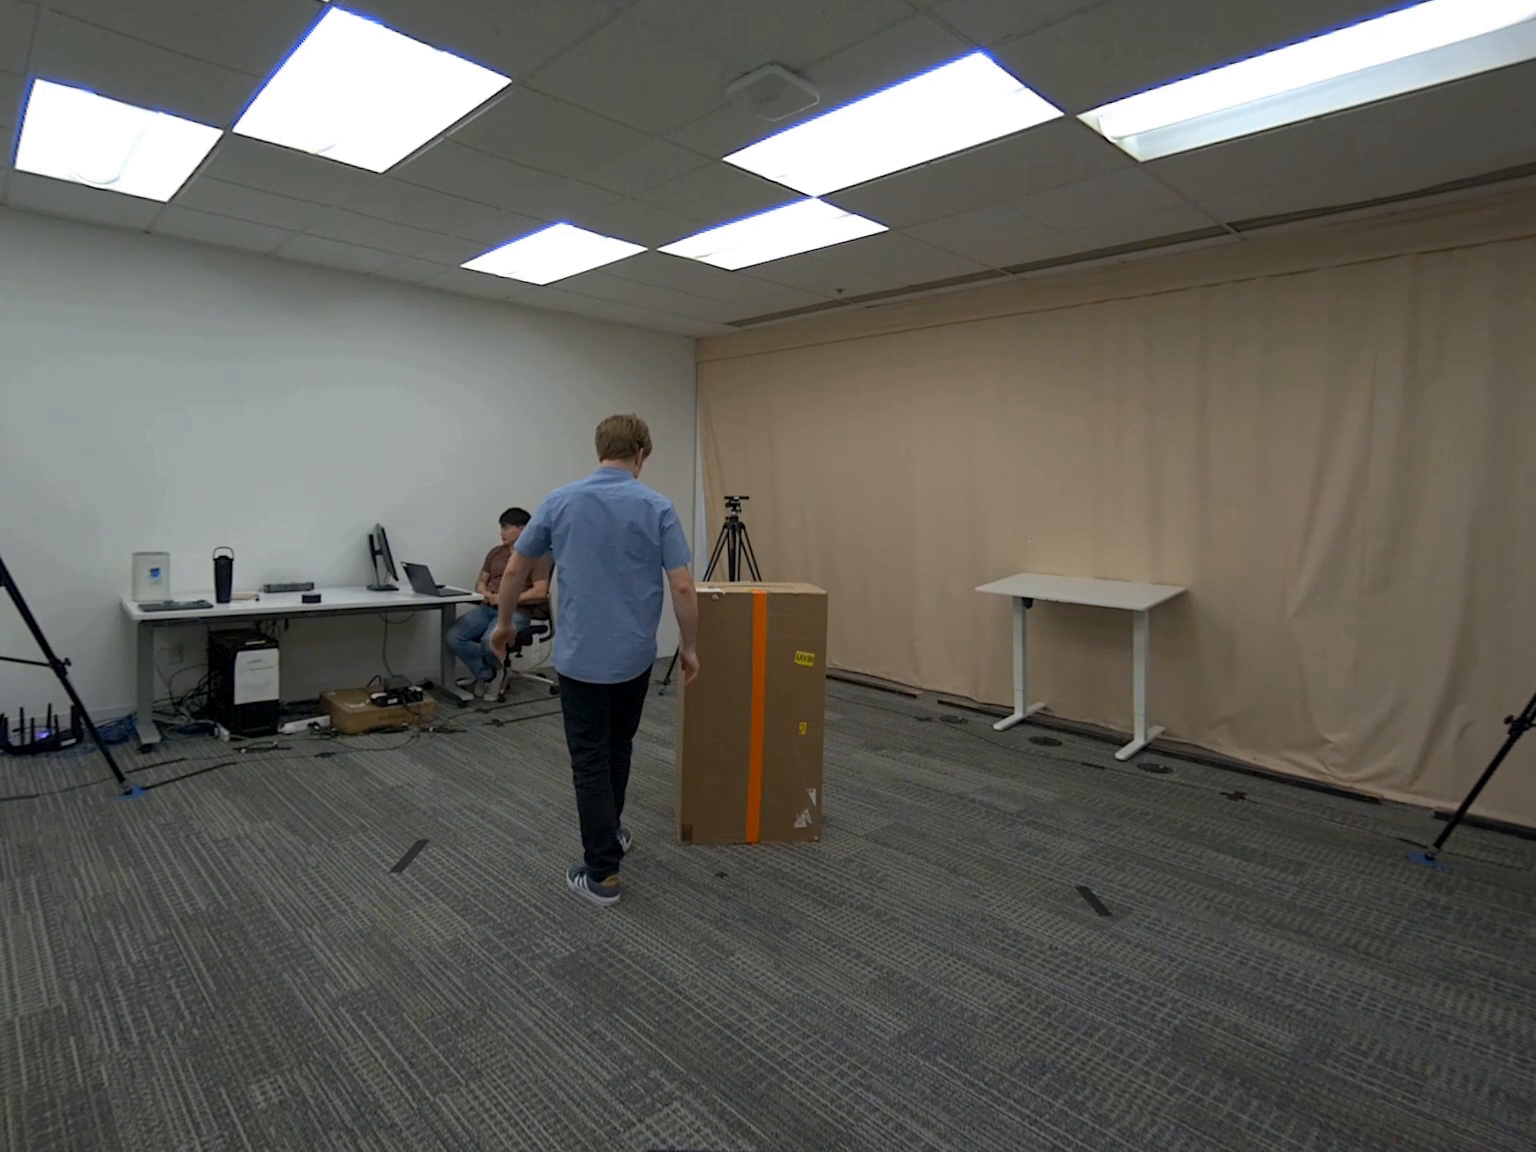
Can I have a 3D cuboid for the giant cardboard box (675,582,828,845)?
[{"bbox_3d":[-0.087,0.552,3.580,0.581,1.024,0.450,1,4,-7],"label":"giant cardboard box"}]
